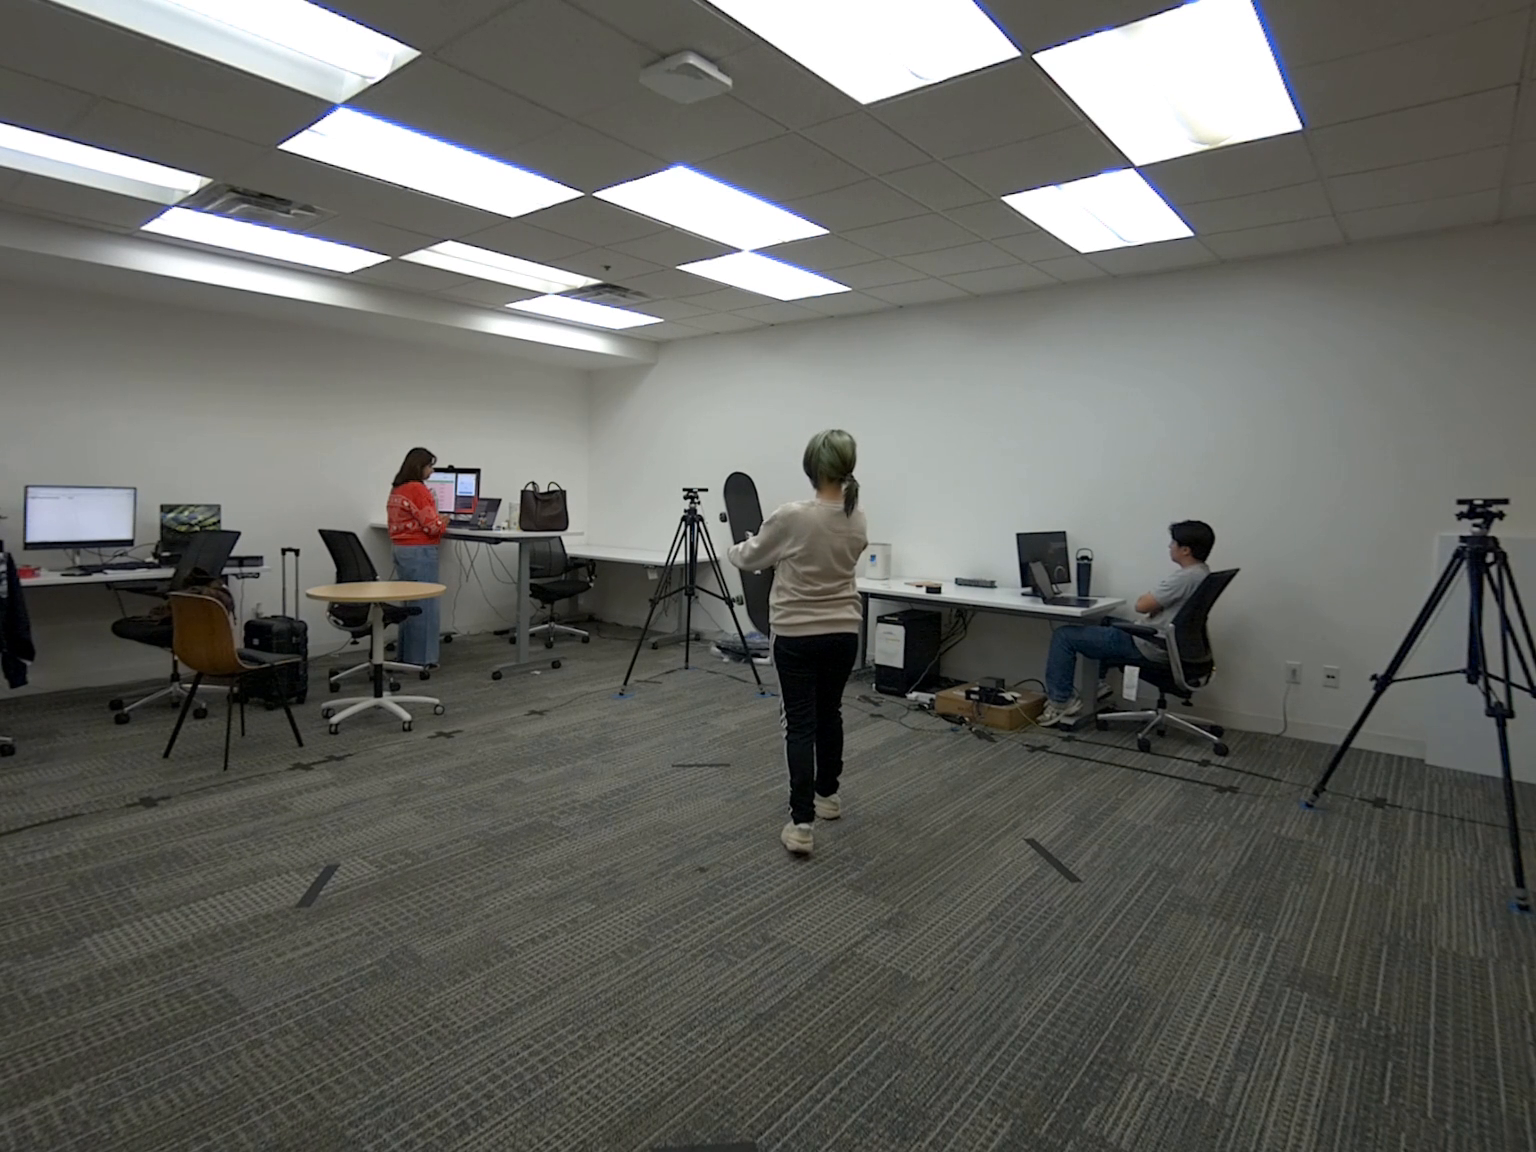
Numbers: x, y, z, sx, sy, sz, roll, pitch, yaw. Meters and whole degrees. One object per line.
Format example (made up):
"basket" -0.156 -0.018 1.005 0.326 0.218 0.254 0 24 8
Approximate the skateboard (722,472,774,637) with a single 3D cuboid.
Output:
"skateboard" -0.084 -0.099 3.894 0.188 0.801 0.111 -1 -20 -30
